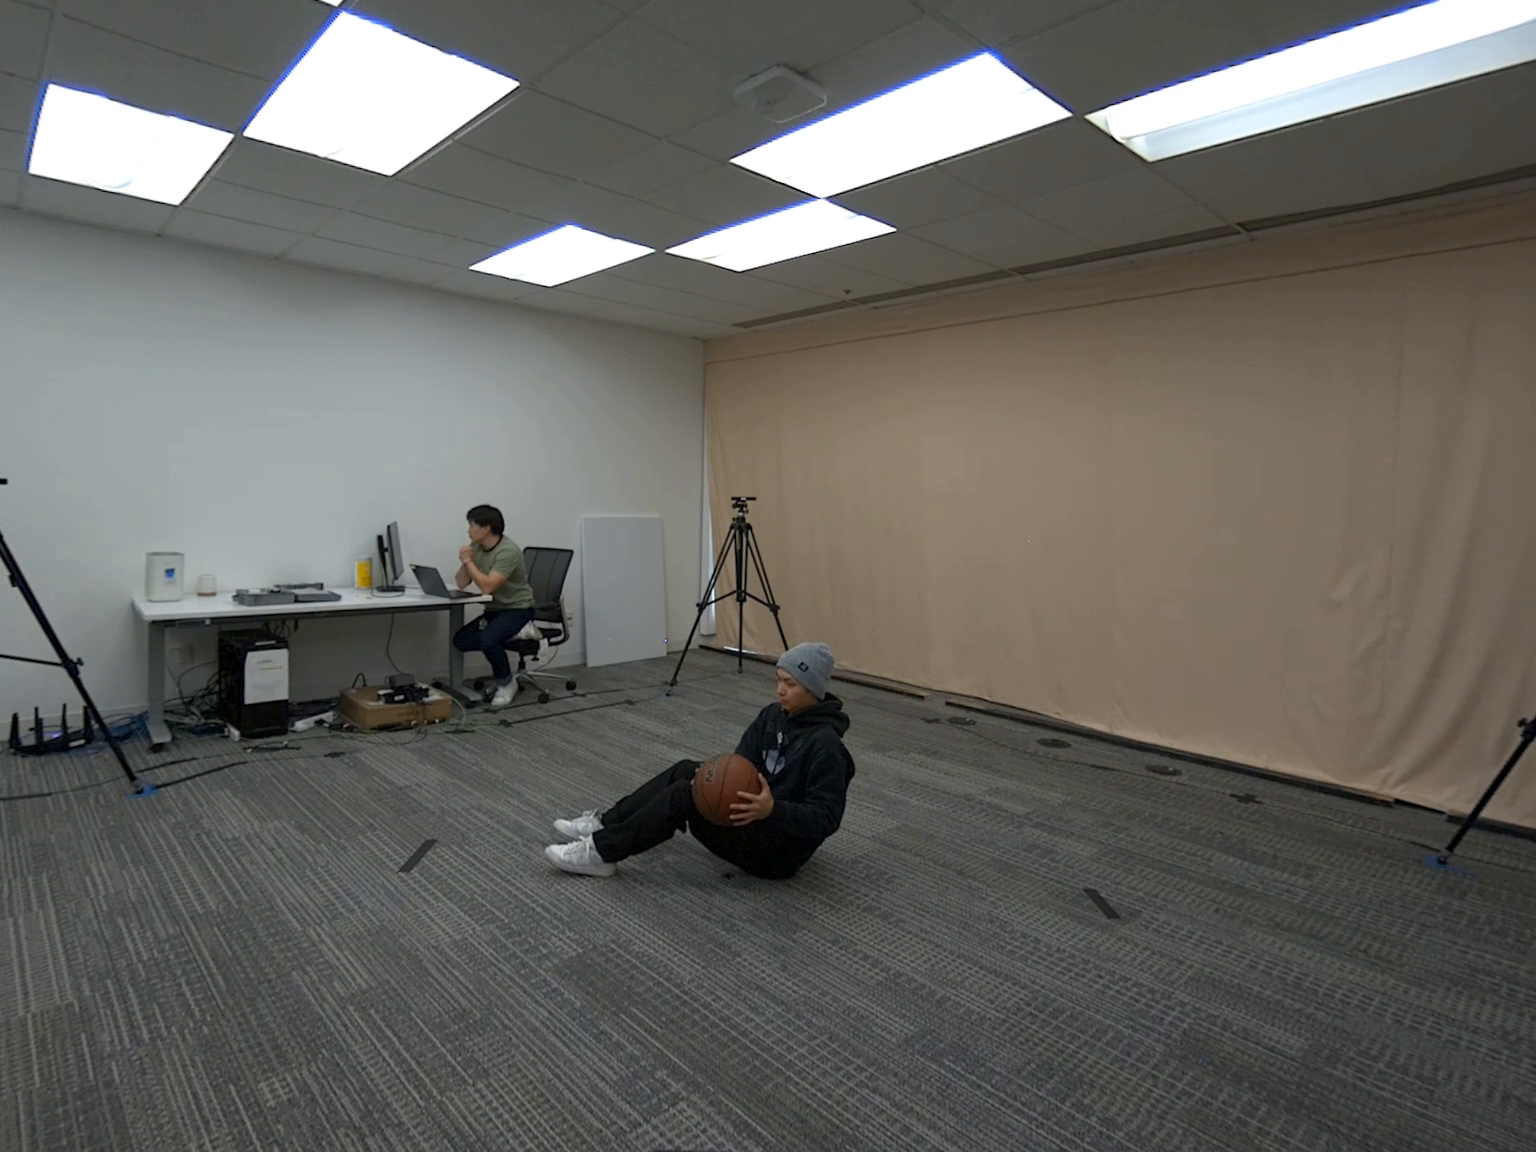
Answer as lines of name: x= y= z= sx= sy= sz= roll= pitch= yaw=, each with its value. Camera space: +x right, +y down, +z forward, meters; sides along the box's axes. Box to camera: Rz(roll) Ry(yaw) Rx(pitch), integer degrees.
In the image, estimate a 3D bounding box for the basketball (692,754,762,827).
basketball: x=-0.138 y=0.722 z=2.861 sx=0.236 sy=0.235 sz=0.237 roll=1 pitch=4 yaw=-1
